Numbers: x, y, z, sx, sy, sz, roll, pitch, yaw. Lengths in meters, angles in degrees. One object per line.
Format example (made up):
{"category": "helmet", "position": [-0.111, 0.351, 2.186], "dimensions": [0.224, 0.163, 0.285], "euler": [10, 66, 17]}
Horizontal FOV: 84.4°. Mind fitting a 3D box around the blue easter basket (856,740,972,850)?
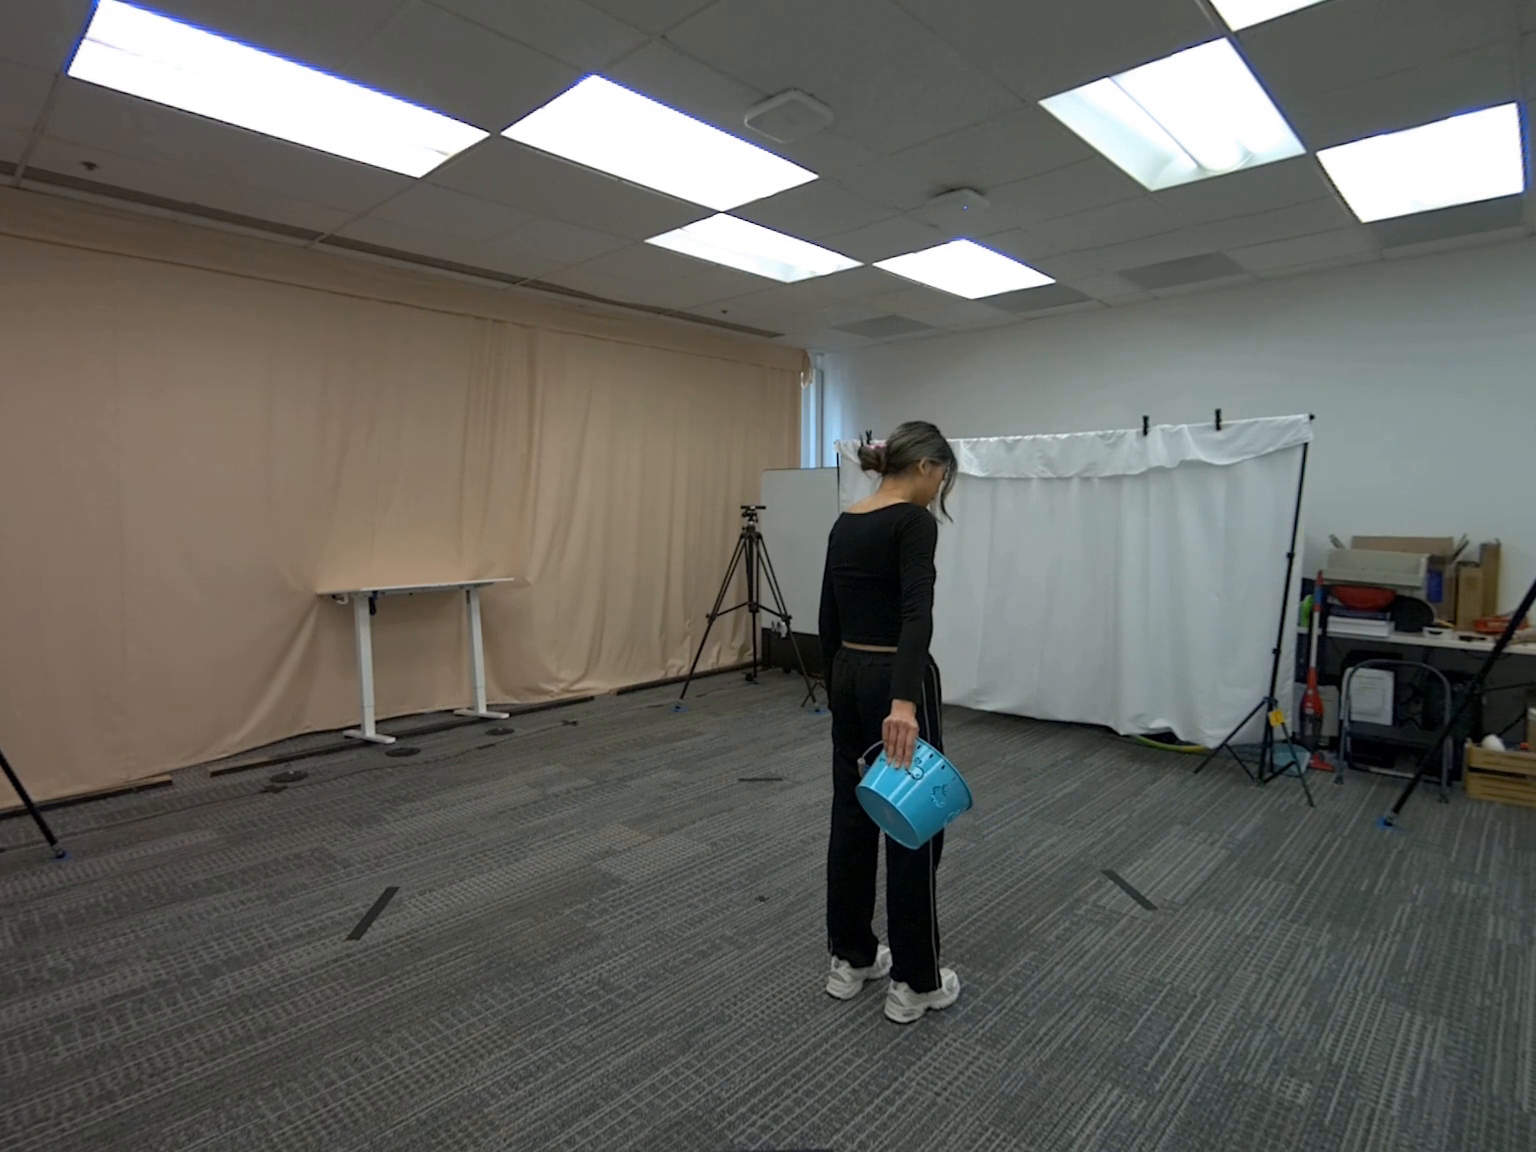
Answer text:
{"category": "blue easter basket", "position": [0.316, 0.495, 1.903], "dimensions": [0.154, 0.239, 0.250], "euler": [-40, 21, -20]}
